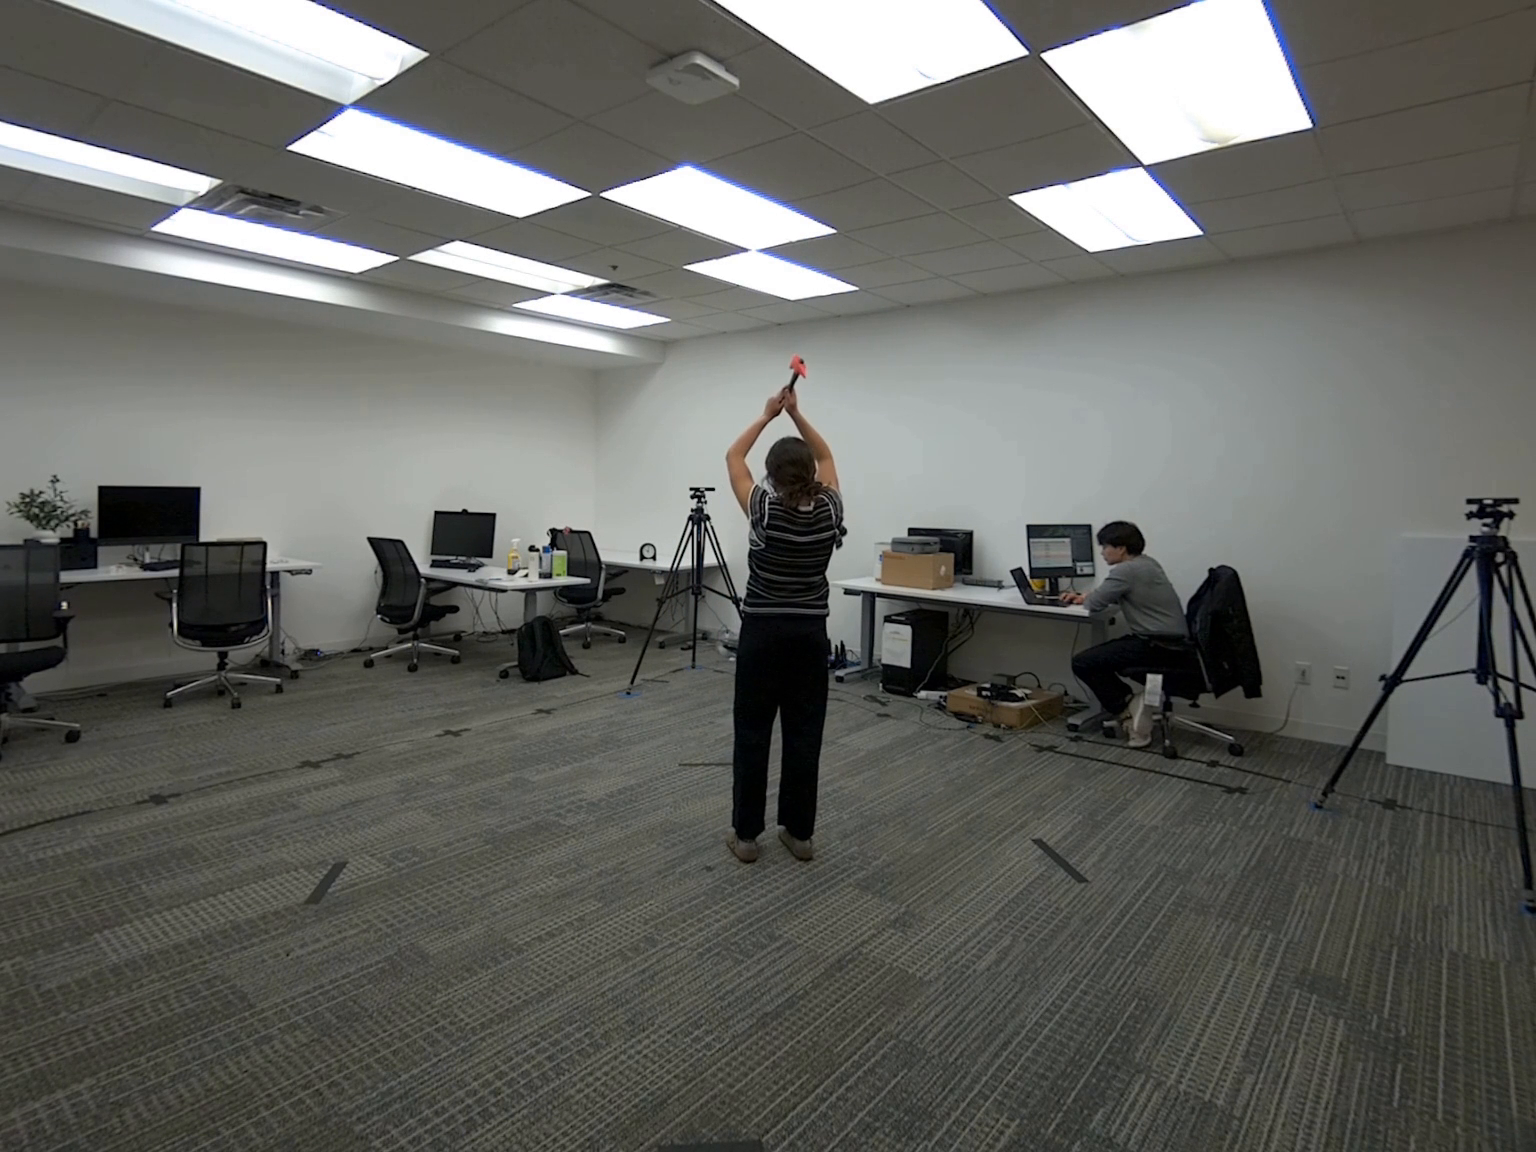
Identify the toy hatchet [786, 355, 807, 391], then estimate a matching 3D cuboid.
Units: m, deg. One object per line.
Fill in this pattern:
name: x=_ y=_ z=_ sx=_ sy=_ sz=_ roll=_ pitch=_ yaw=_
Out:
toy hatchet: x=0.061 y=-0.771 z=3.362 sx=0.029 sy=0.134 sz=0.271 roll=-1 pitch=-19 yaw=-27
